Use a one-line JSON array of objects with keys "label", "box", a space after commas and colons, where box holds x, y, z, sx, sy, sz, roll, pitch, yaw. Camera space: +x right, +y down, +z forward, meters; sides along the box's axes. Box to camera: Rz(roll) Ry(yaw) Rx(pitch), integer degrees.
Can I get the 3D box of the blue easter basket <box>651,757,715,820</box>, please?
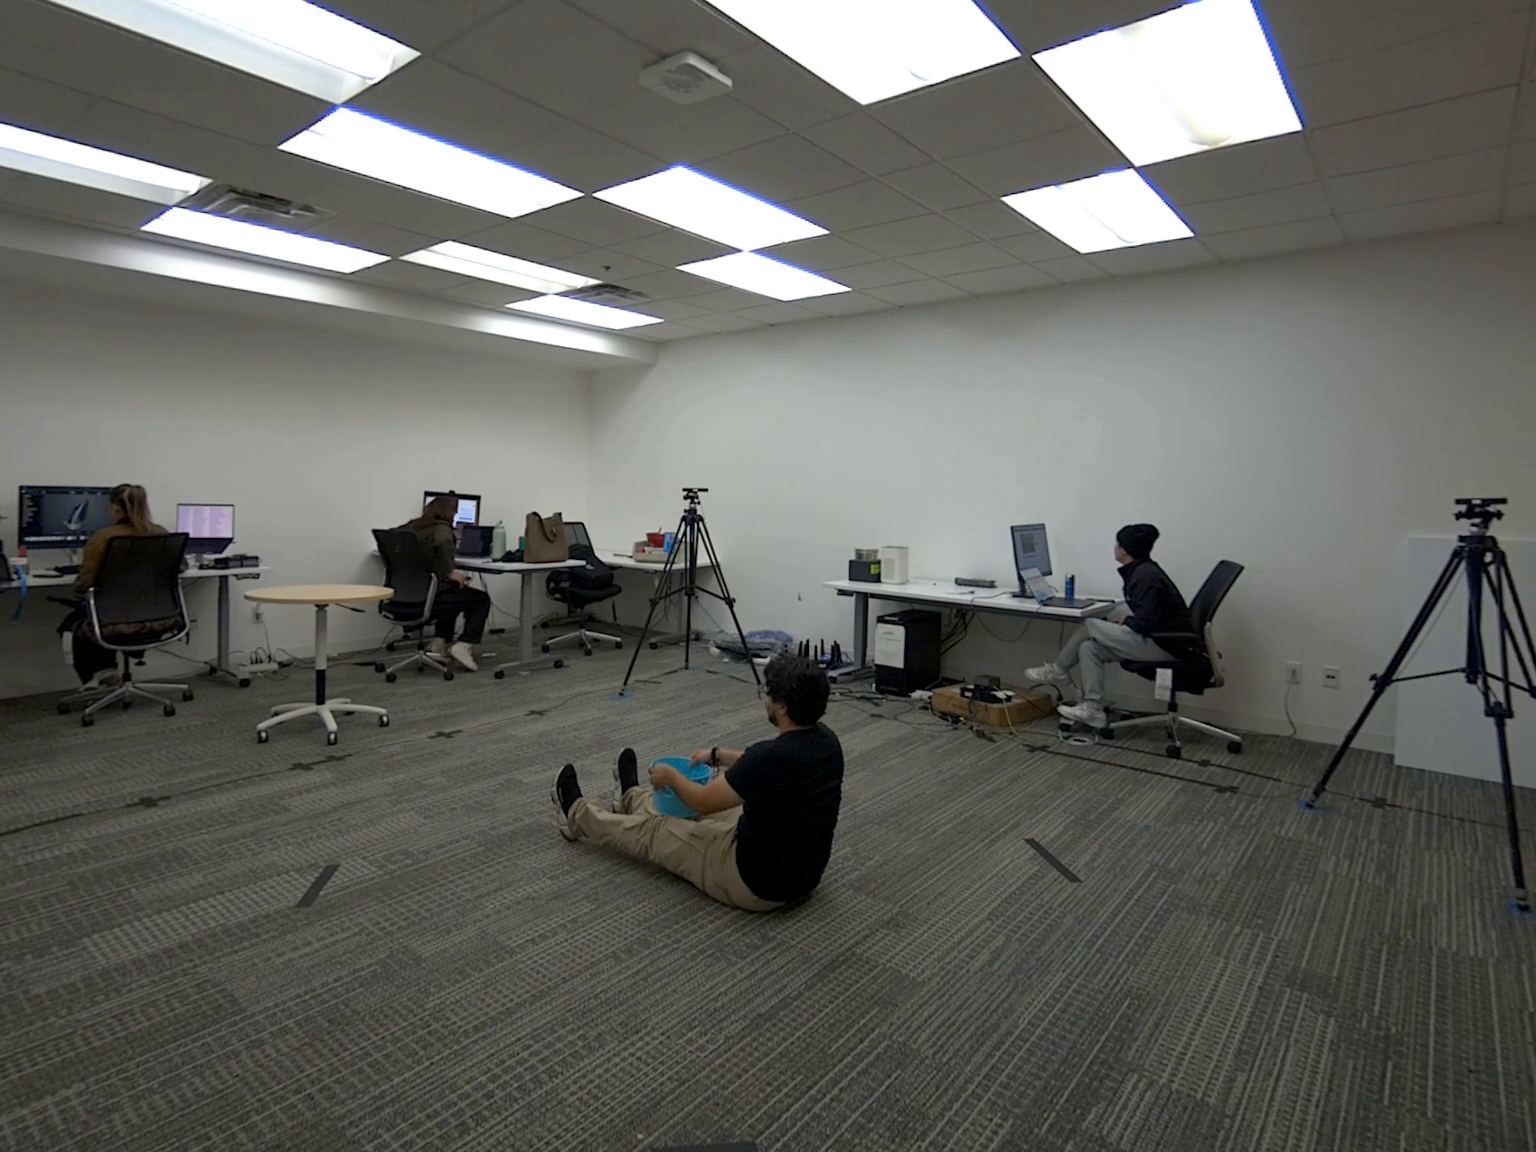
[{"label": "blue easter basket", "box": [-0.334, 0.798, 3.194, 0.243, 0.155, 0.245, 9, 5, -3]}]
